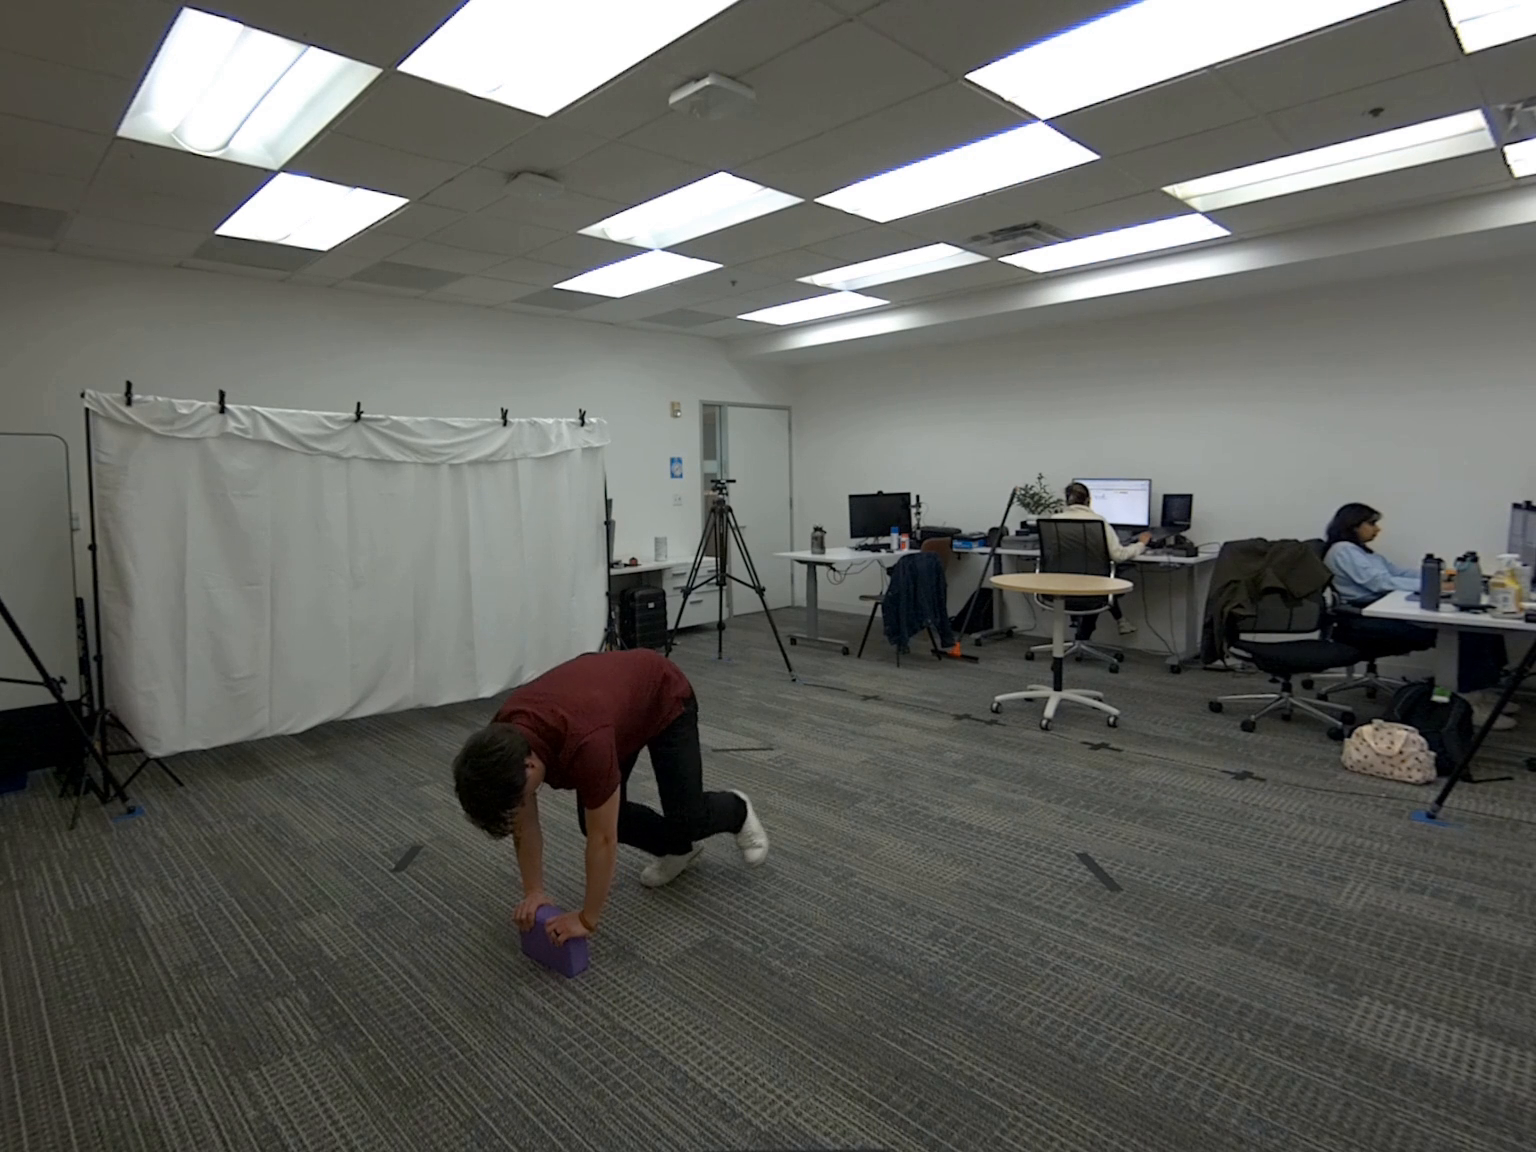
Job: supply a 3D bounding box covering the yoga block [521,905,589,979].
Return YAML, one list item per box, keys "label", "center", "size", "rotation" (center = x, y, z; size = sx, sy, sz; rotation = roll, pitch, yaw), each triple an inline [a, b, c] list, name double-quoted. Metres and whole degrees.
- label: "yoga block"
  center: [-0.625, 1.061, 2.502]
  size: [0.236, 0.148, 0.075]
  rotation: [5, 12, 39]
